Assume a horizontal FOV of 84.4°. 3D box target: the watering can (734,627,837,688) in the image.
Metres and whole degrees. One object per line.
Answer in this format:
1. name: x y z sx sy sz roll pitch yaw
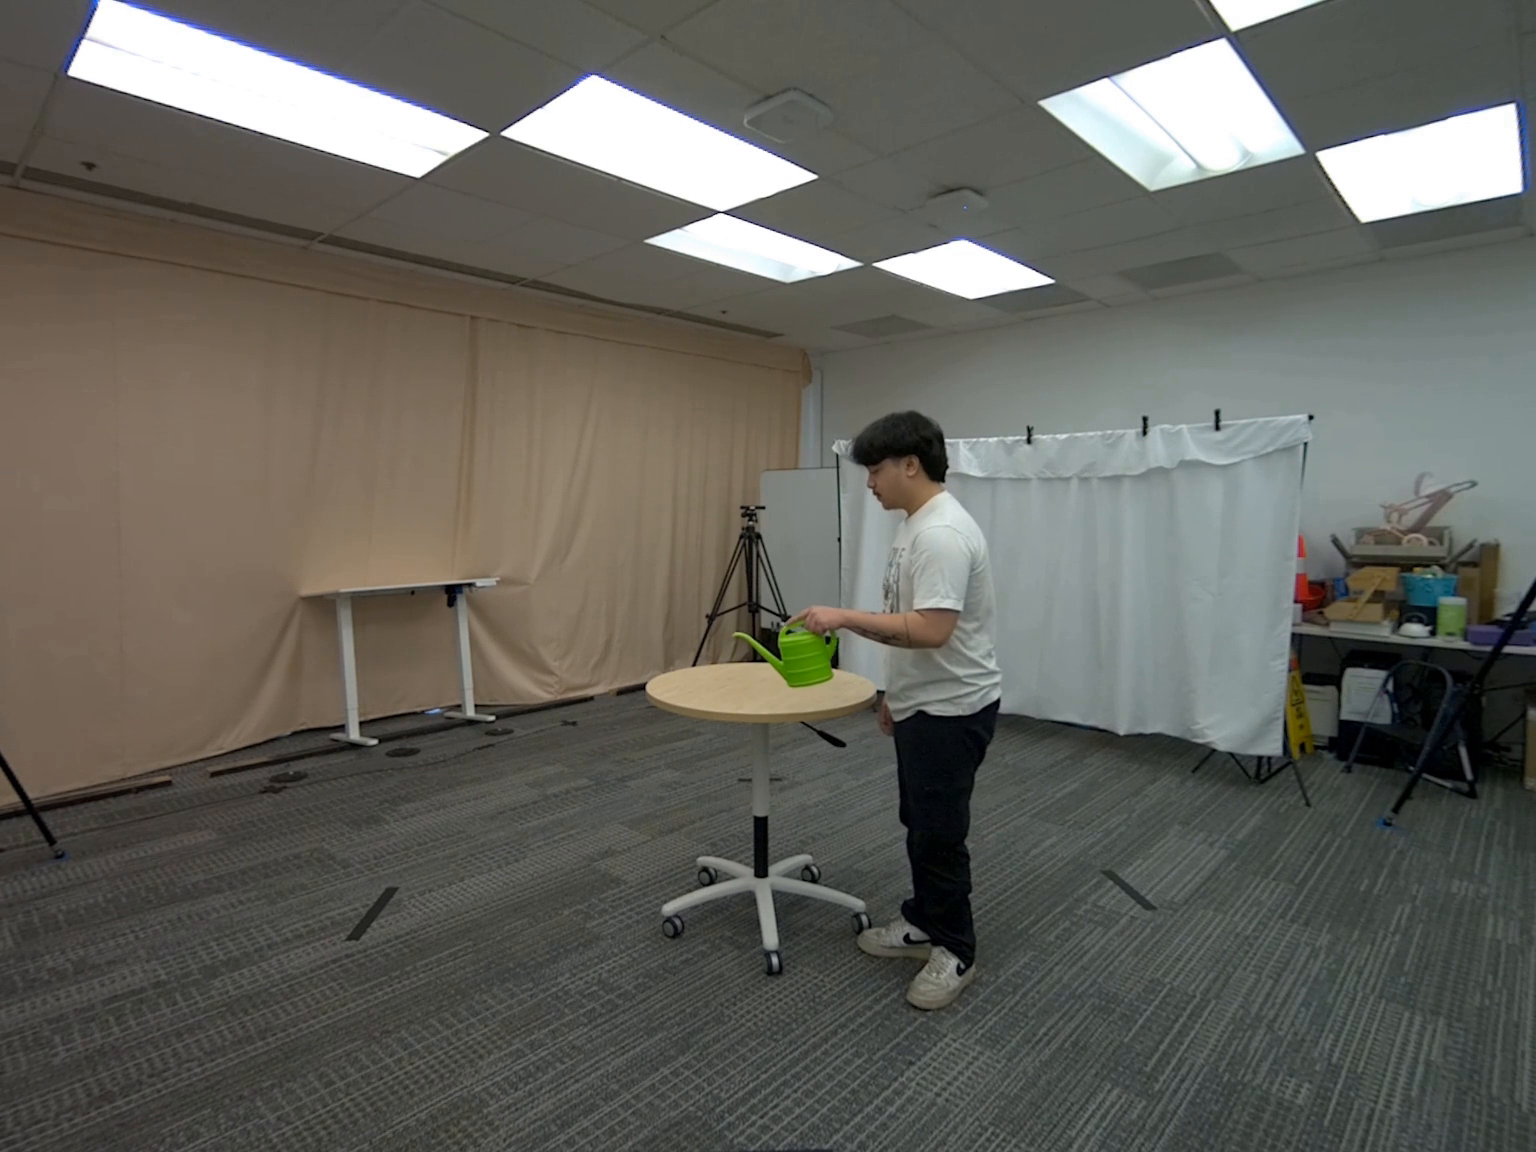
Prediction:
1. watering can: 0.065 0.220 2.339 0.283 0.176 0.096 -10 2 19
